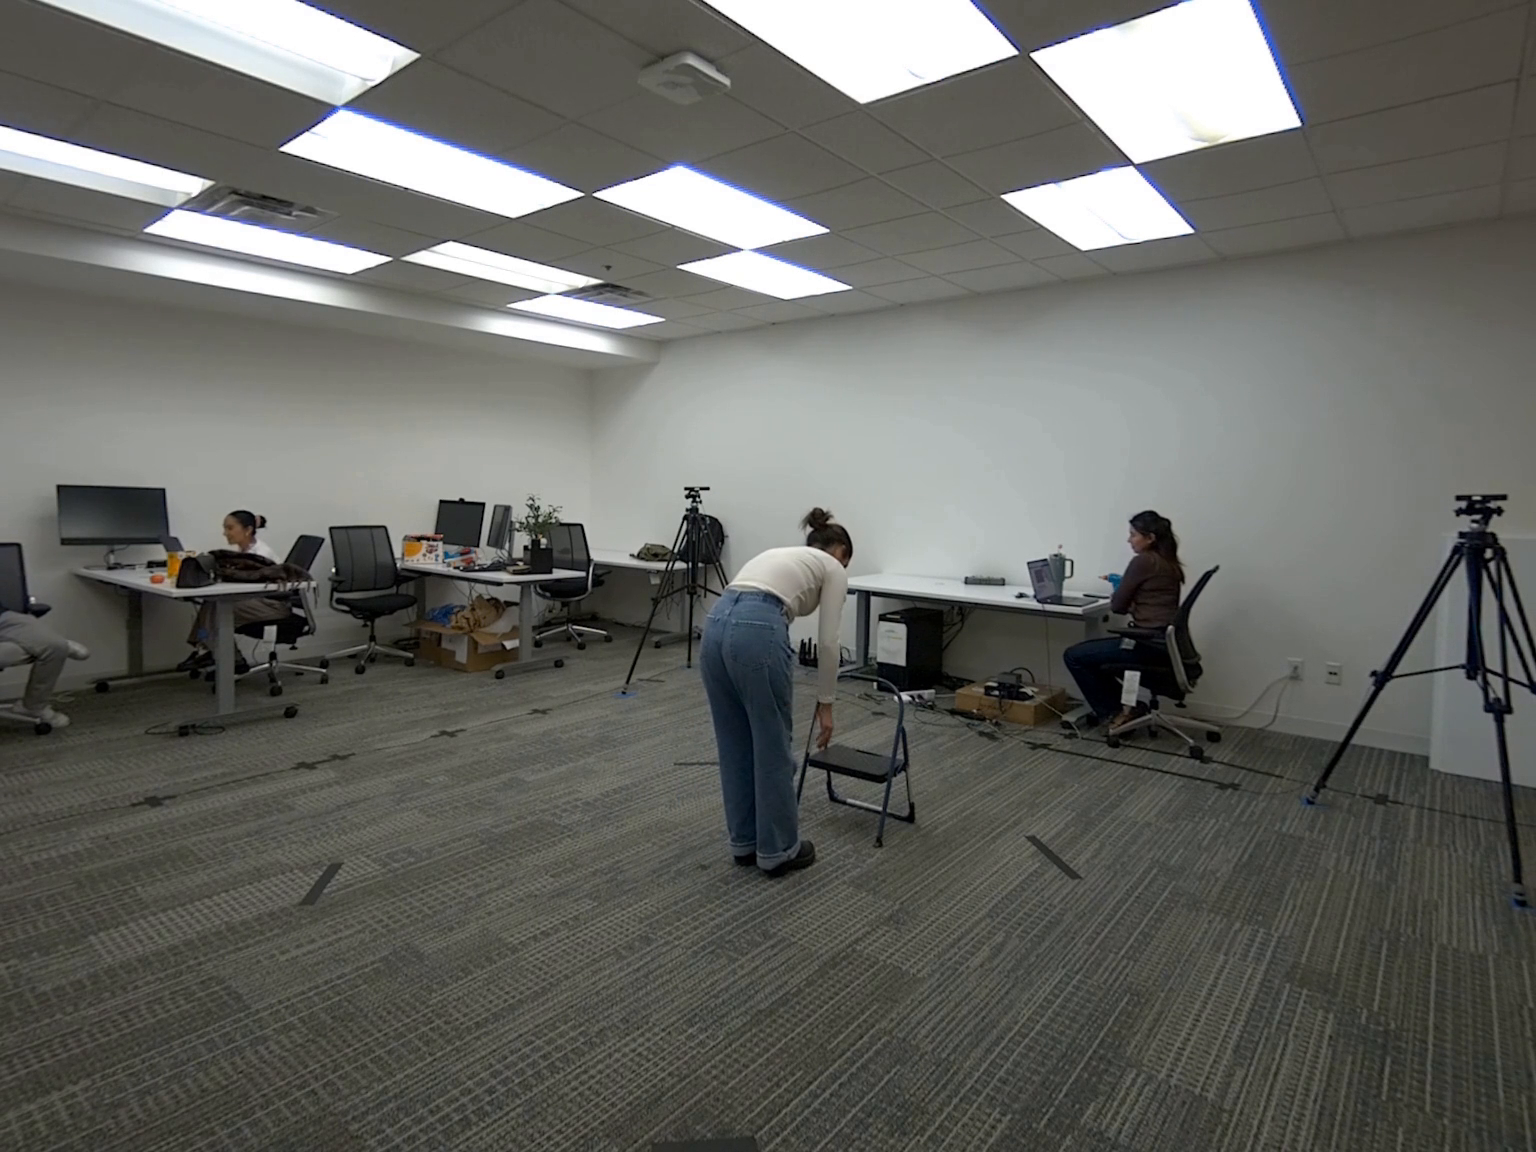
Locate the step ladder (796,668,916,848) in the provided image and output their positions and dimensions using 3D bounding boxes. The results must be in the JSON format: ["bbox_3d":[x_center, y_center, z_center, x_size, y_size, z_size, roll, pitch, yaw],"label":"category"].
[{"bbox_3d":[0.358,0.727,3.566,0.444,0.604,0.339,4,4,36],"label":"step ladder"}]
